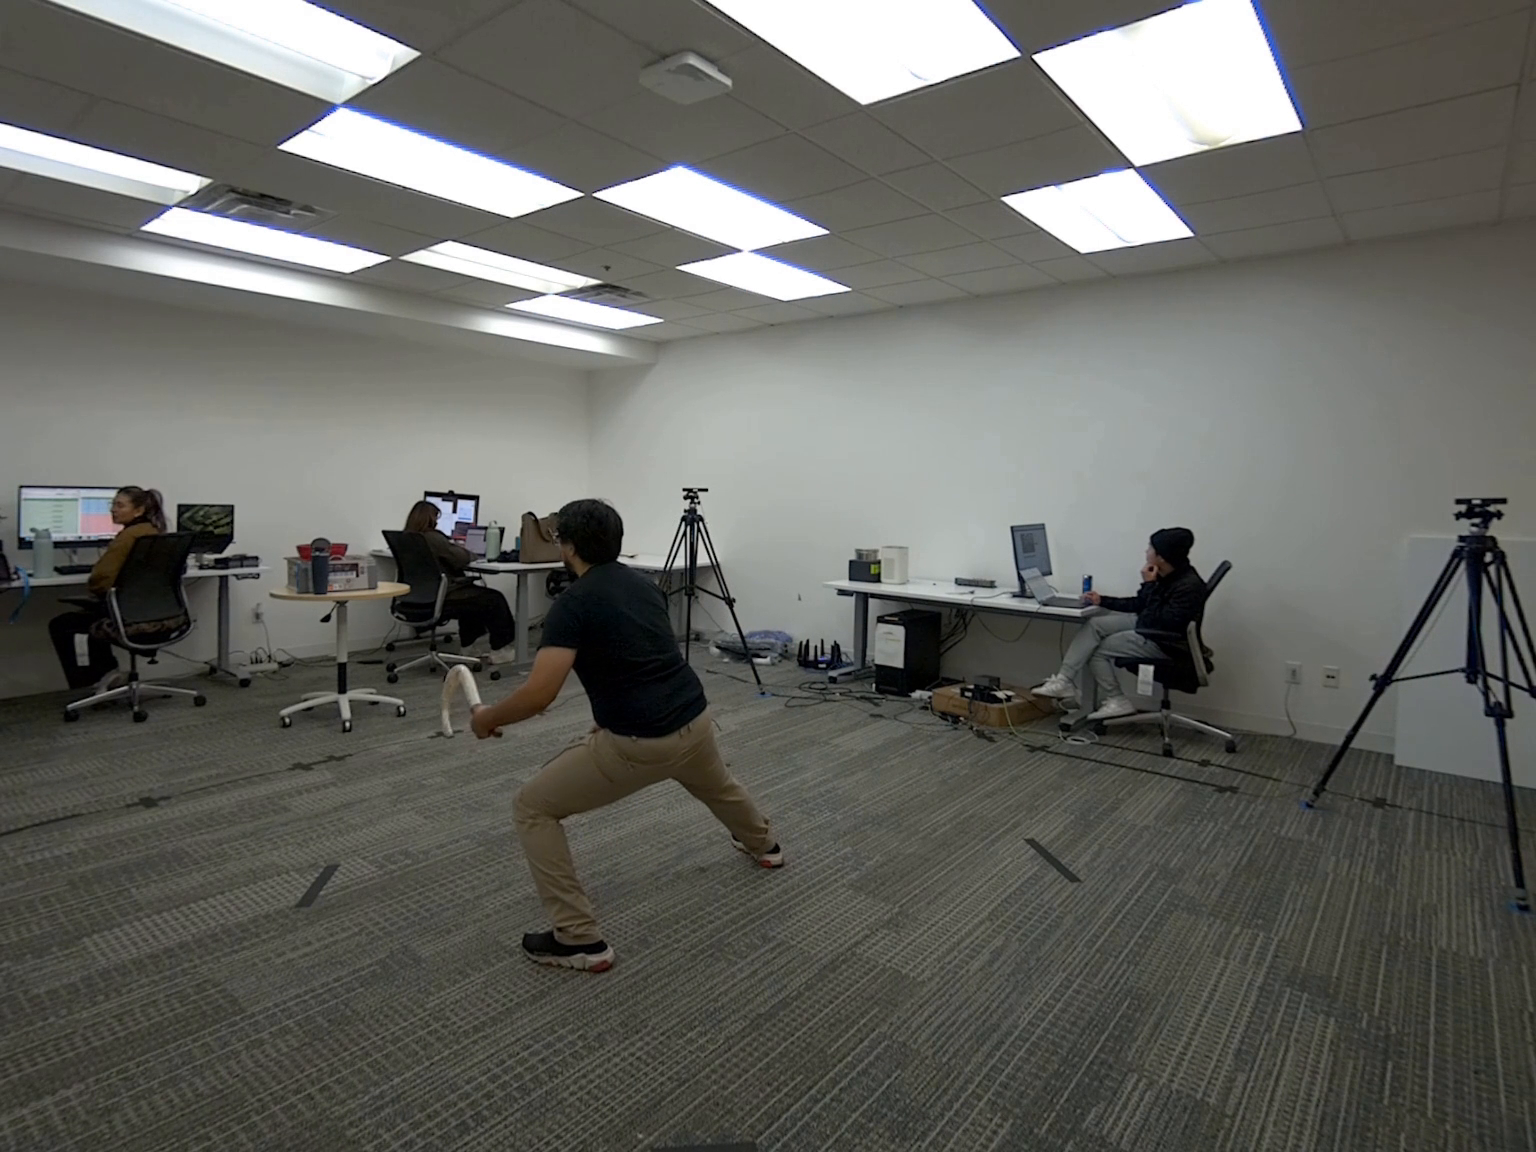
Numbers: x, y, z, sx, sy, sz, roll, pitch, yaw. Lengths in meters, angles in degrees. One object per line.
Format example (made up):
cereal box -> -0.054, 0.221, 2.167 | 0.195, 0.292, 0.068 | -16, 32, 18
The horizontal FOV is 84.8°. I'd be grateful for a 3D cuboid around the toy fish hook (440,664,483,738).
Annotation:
toy fish hook -> -0.991, 0.459, 2.771 | 0.046, 0.224, 0.527 | 12, 8, -37
